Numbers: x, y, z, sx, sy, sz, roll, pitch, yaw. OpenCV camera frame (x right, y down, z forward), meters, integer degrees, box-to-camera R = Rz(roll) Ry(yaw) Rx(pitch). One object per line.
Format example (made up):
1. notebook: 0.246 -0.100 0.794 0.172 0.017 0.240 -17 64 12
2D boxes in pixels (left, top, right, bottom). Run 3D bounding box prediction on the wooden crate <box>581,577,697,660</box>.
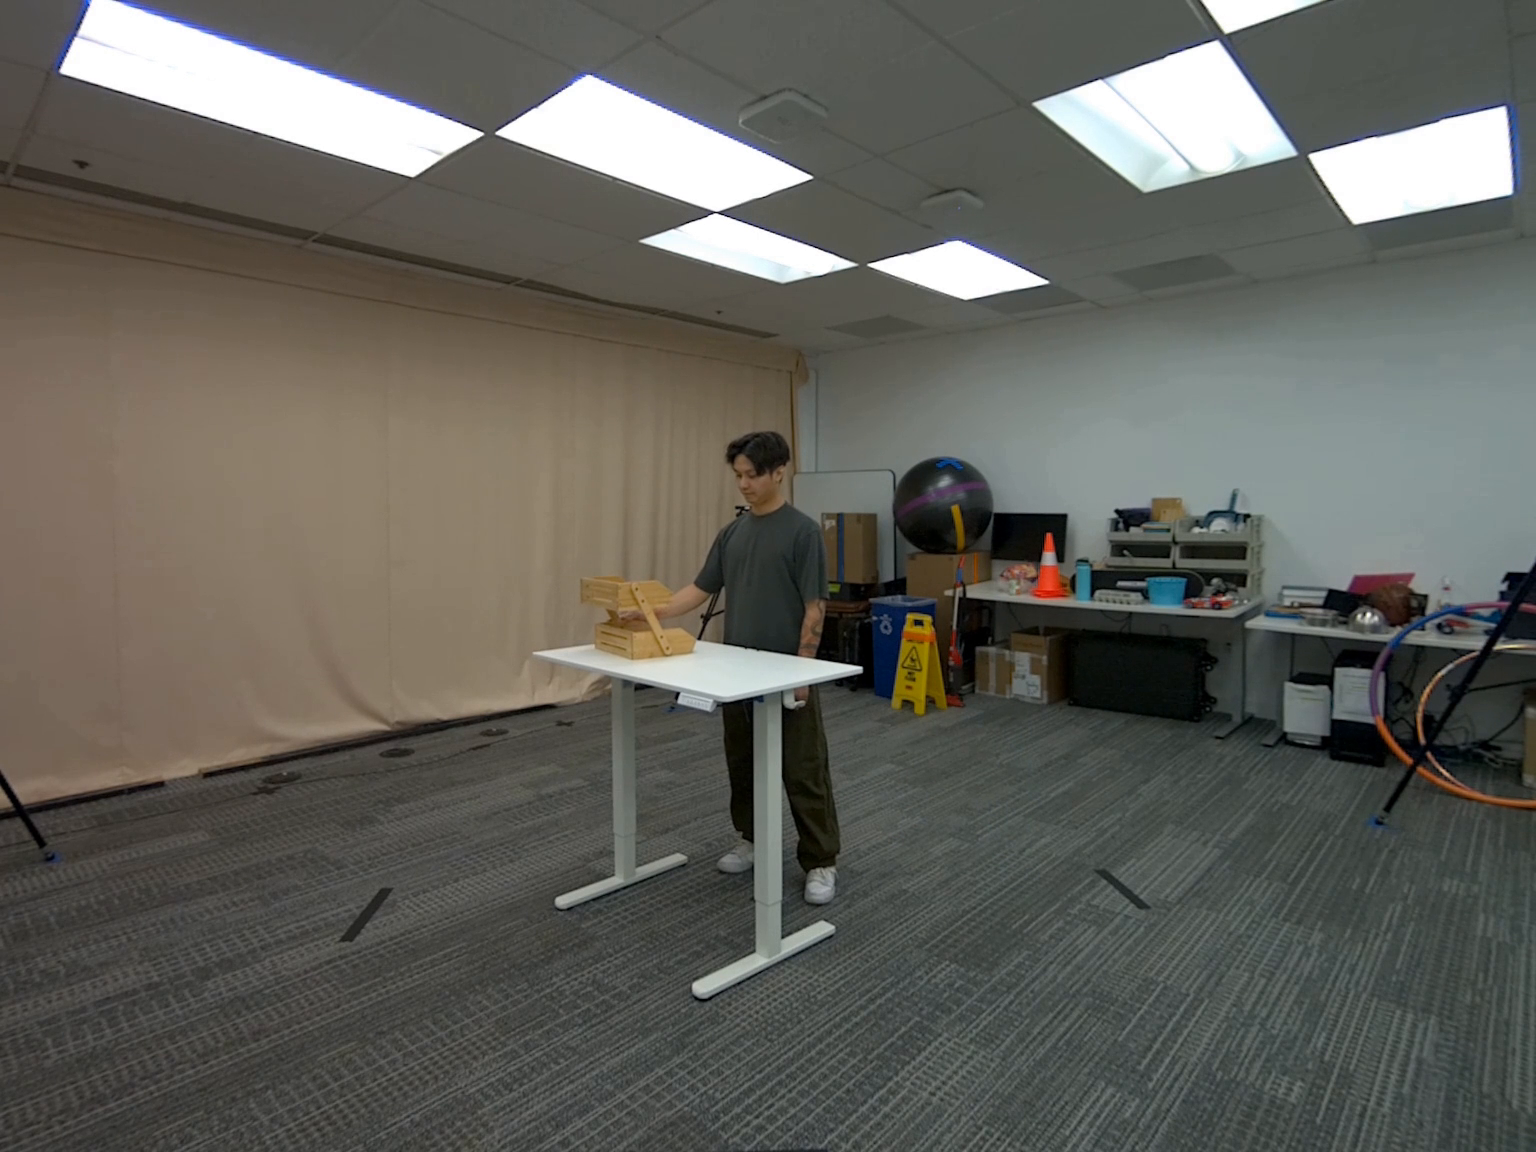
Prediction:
1. wooden crate: -0.457 0.136 2.976 0.293 0.273 0.334 -4 5 -35
